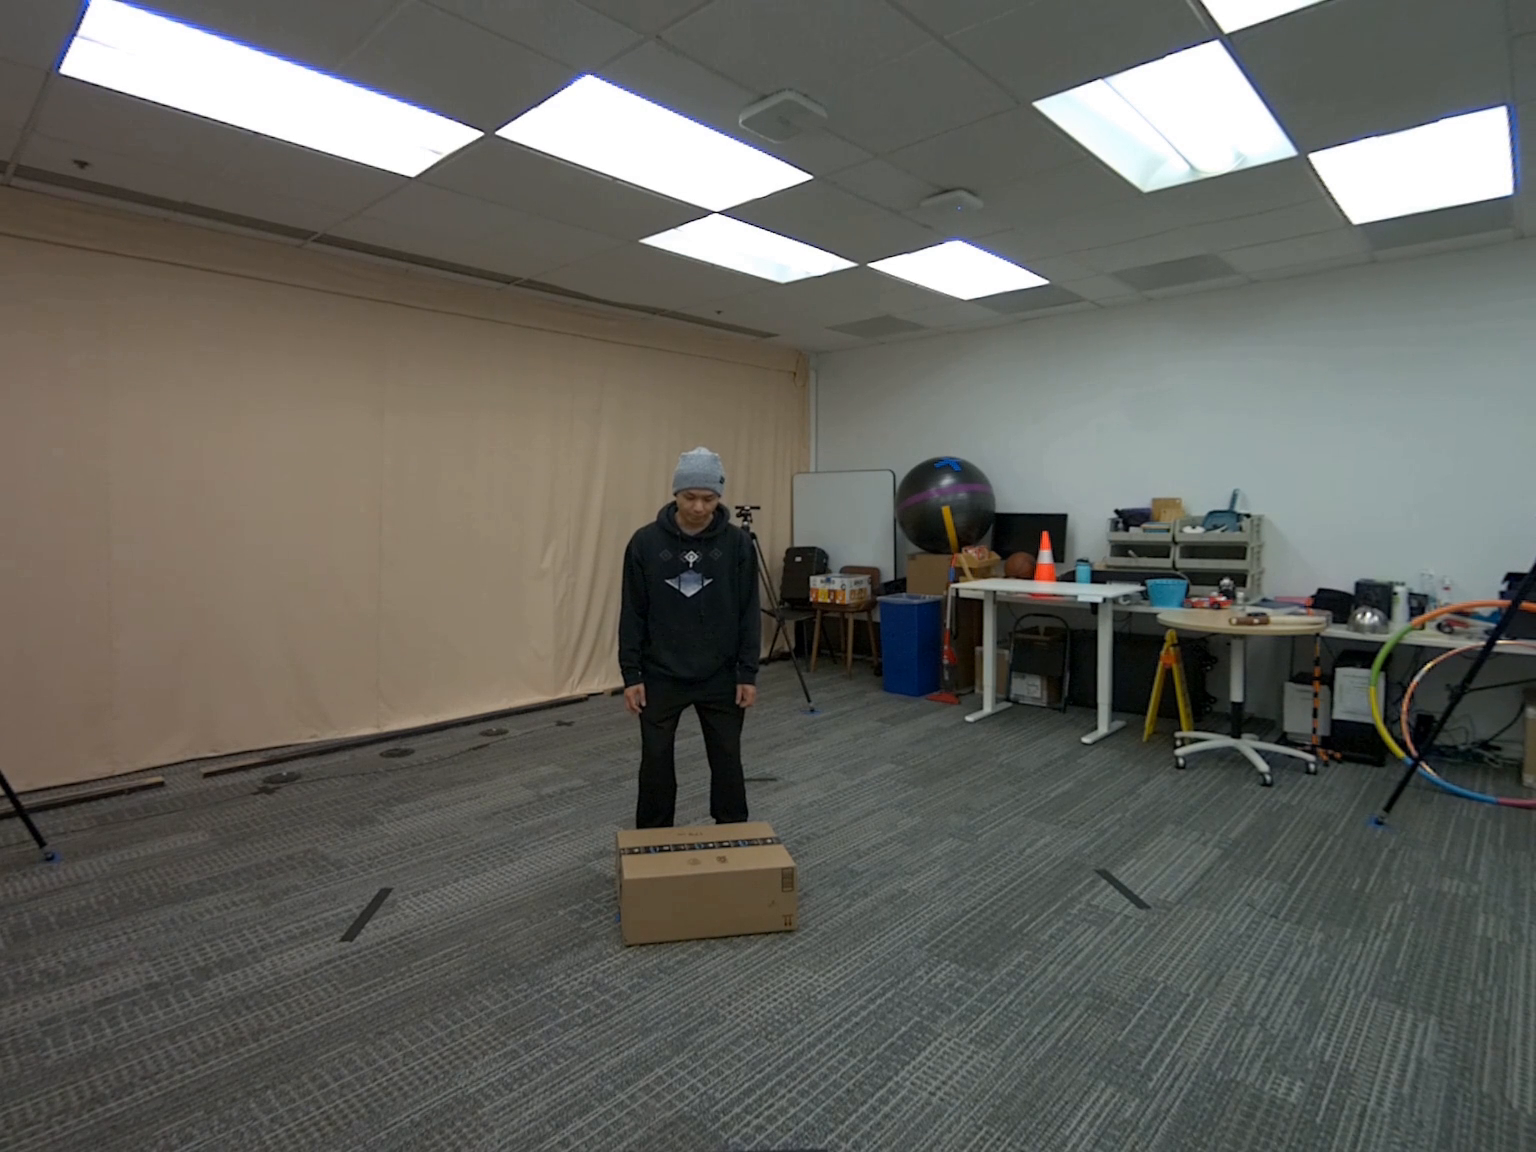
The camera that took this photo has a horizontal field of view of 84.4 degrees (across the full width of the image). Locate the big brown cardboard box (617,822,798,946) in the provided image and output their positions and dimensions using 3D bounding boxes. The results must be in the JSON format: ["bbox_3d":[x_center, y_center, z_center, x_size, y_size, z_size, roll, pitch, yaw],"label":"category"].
[{"bbox_3d":[-0.229,1.040,2.901,0.583,0.233,0.423,-2,4,-10],"label":"big brown cardboard box"}]
